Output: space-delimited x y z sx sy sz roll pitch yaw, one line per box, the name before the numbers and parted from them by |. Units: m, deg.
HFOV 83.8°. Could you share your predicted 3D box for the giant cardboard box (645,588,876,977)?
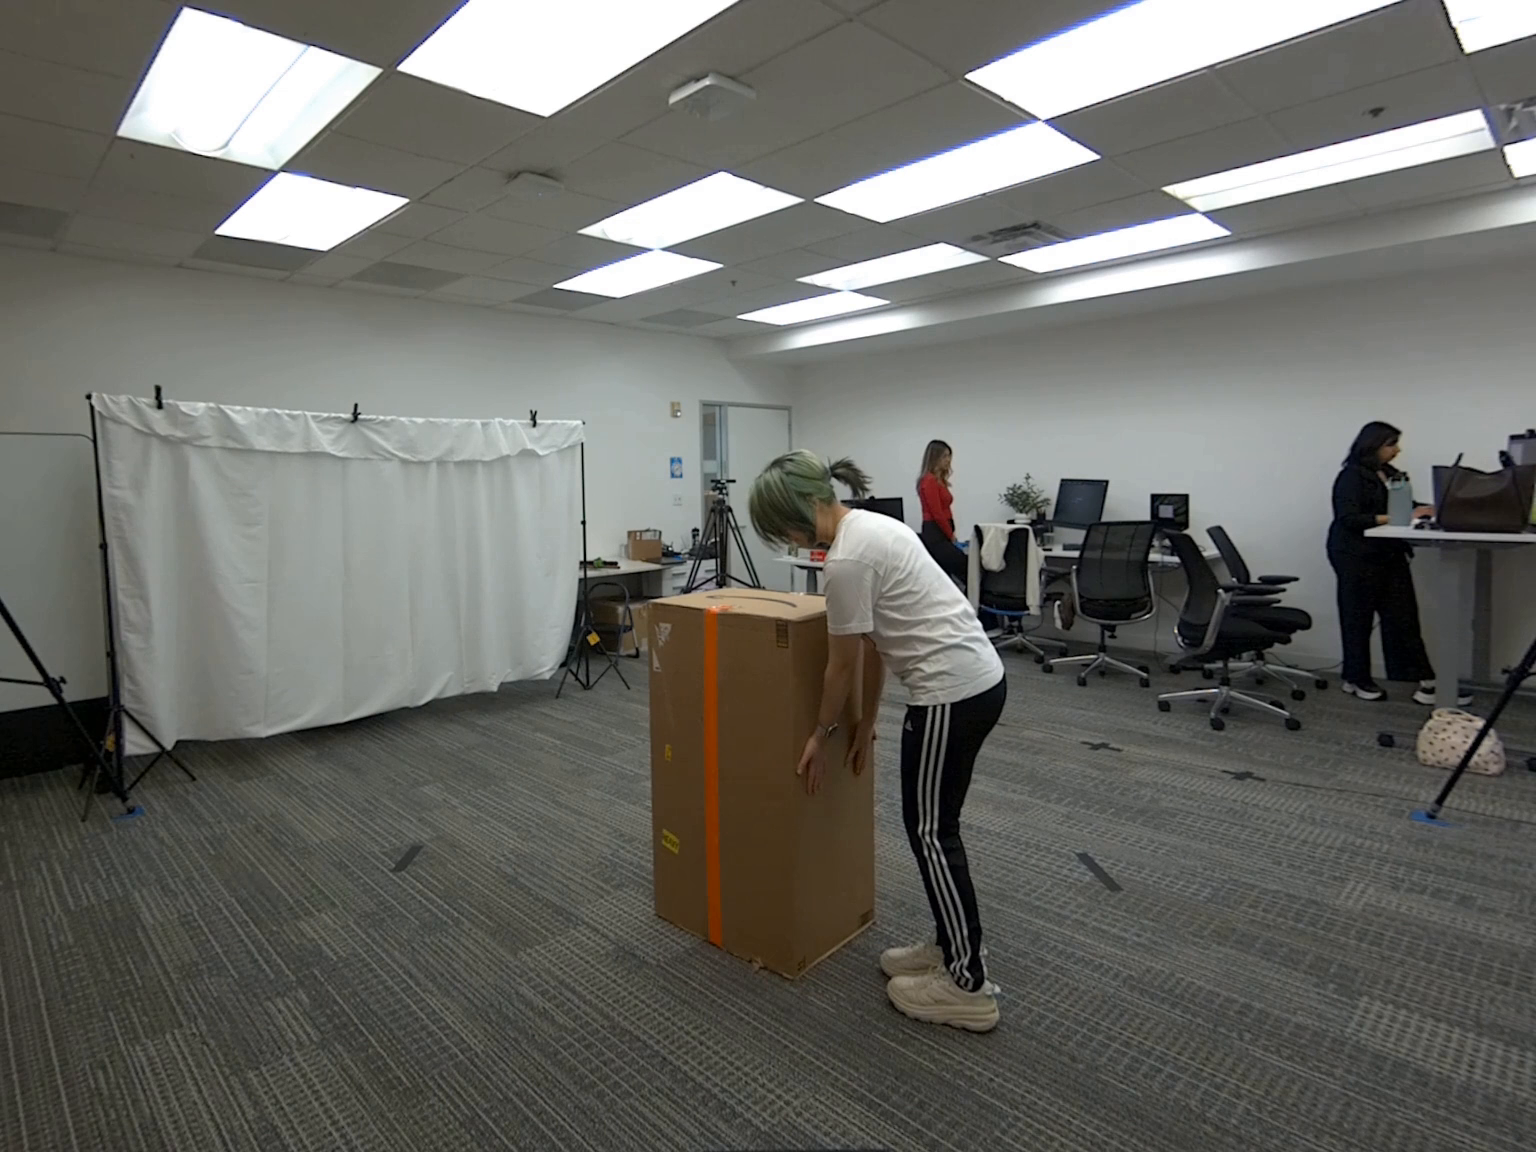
giant cardboard box | -0.024 0.588 2.687 0.602 1.023 0.435 3 5 40
